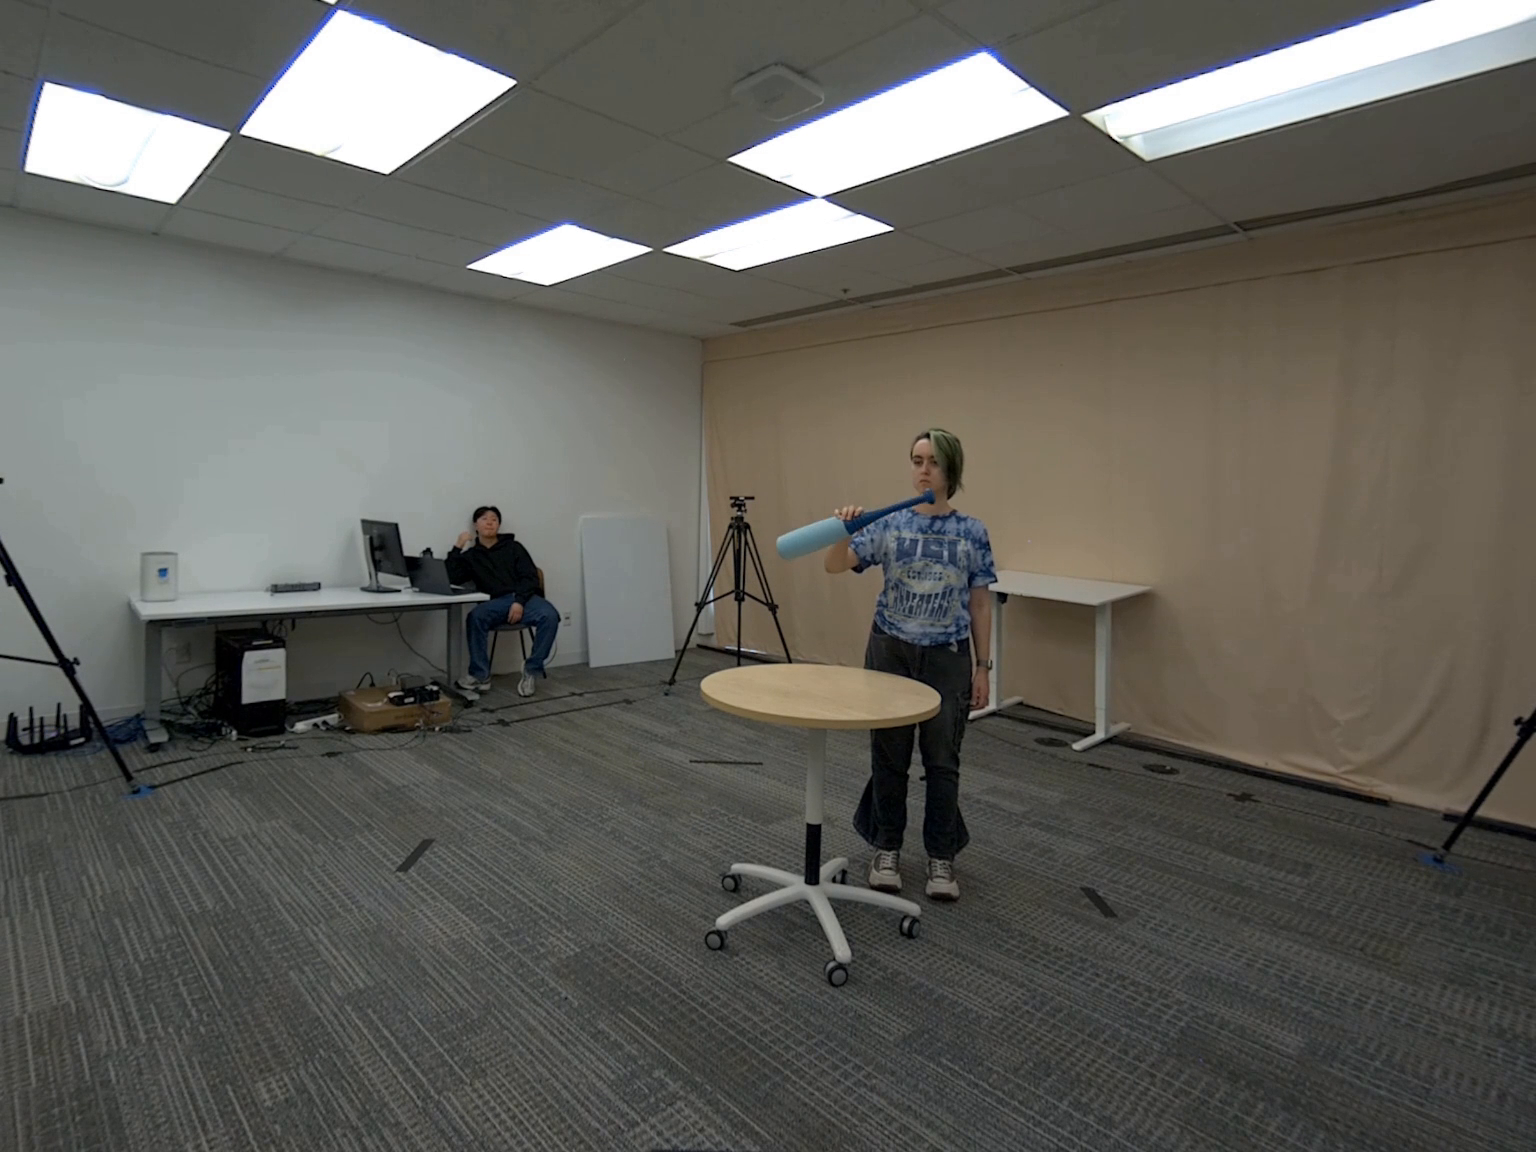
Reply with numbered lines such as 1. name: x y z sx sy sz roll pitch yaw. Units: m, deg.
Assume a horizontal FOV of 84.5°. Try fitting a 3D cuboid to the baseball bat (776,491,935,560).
1. baseball bat: 0.272 -0.166 2.676 0.549 0.089 0.087 -18 -5 26
